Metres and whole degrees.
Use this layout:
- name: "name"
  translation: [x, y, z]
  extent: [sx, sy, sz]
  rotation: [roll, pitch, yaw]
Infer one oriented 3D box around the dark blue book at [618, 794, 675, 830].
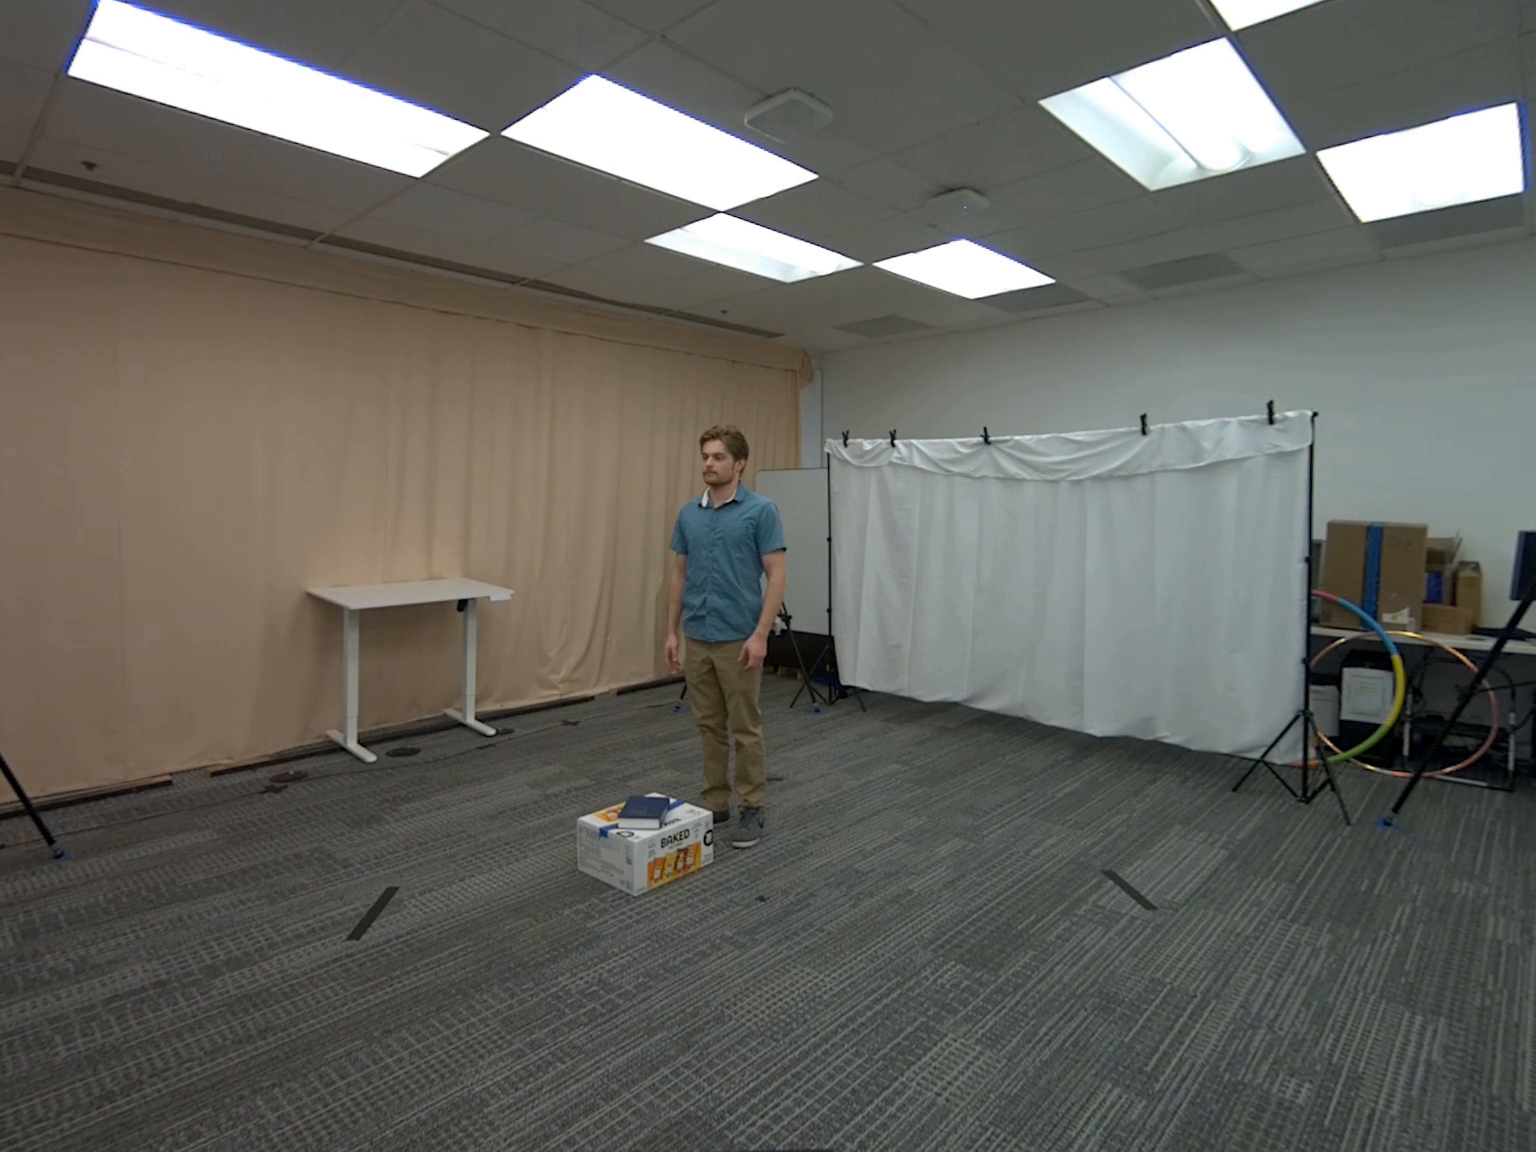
- name: "dark blue book"
  translation: [-0.483, 0.912, 3.236]
  extent: [0.164, 0.045, 0.244]
  rotation: [0, 4, 3]
